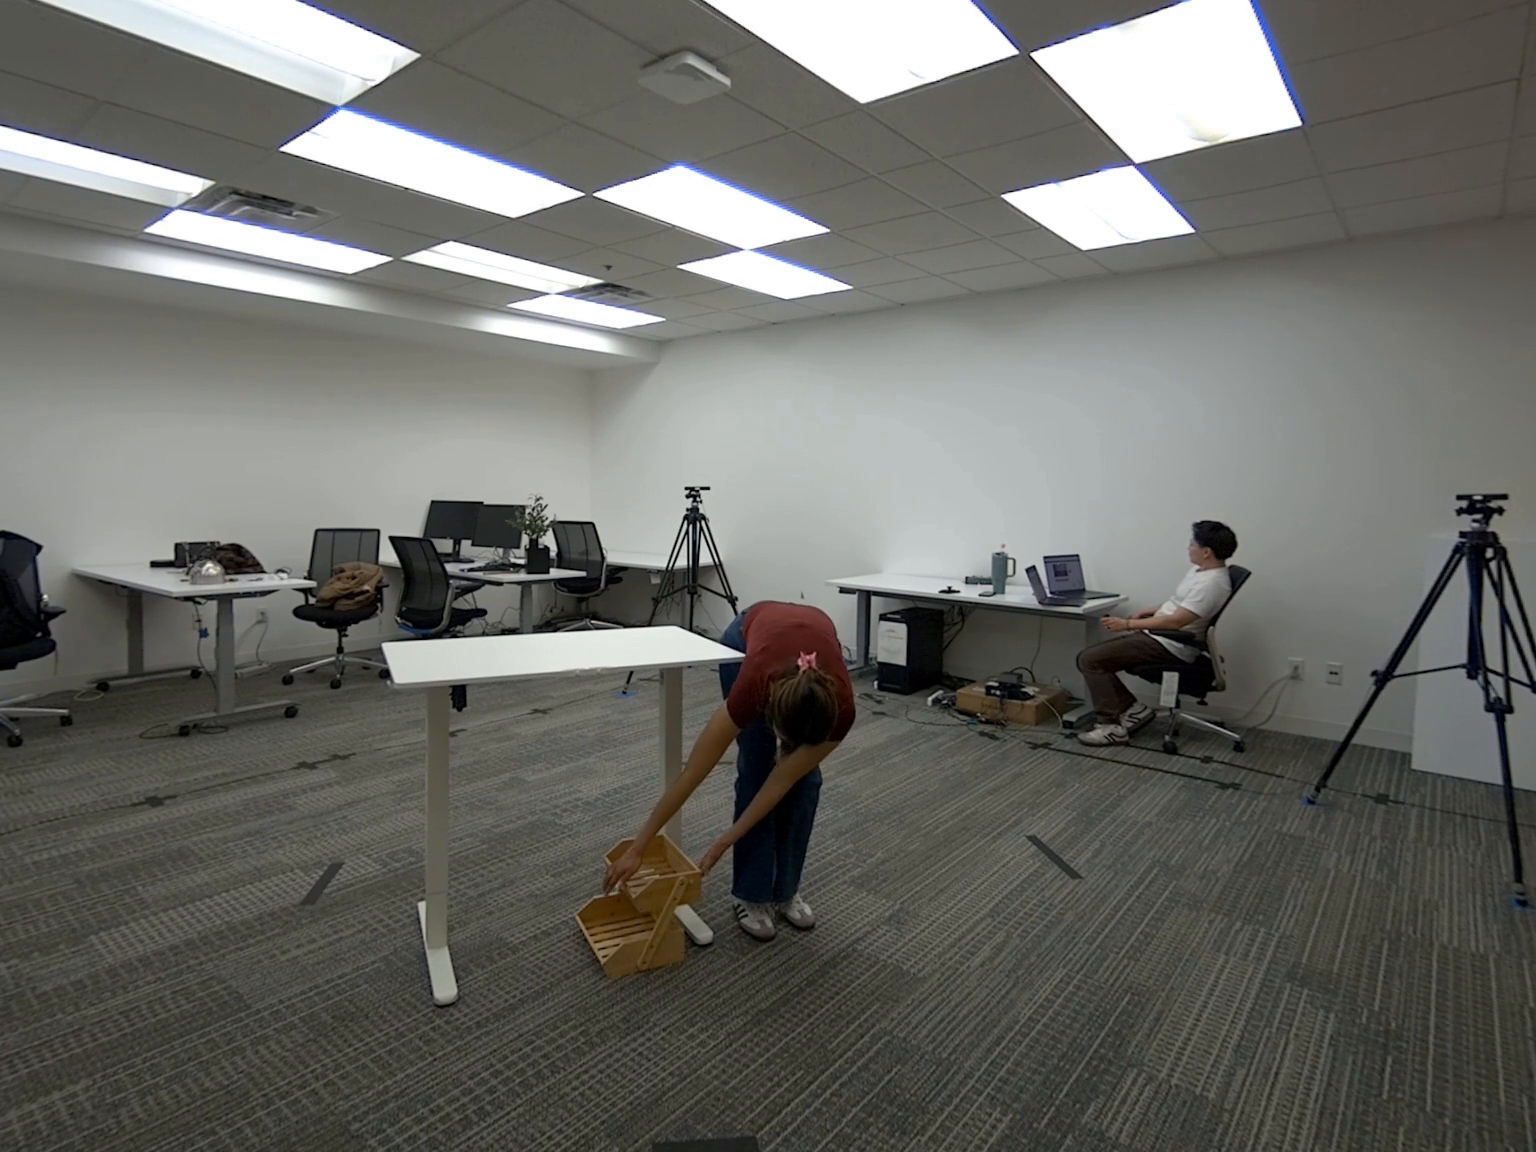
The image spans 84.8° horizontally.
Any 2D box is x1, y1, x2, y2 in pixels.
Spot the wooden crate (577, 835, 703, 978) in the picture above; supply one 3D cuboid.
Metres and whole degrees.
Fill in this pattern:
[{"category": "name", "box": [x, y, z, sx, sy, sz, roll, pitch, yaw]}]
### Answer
[{"category": "wooden crate", "box": [-0.411, 0.982, 2.580, 0.295, 0.272, 0.334, -2, 5, -26]}]
